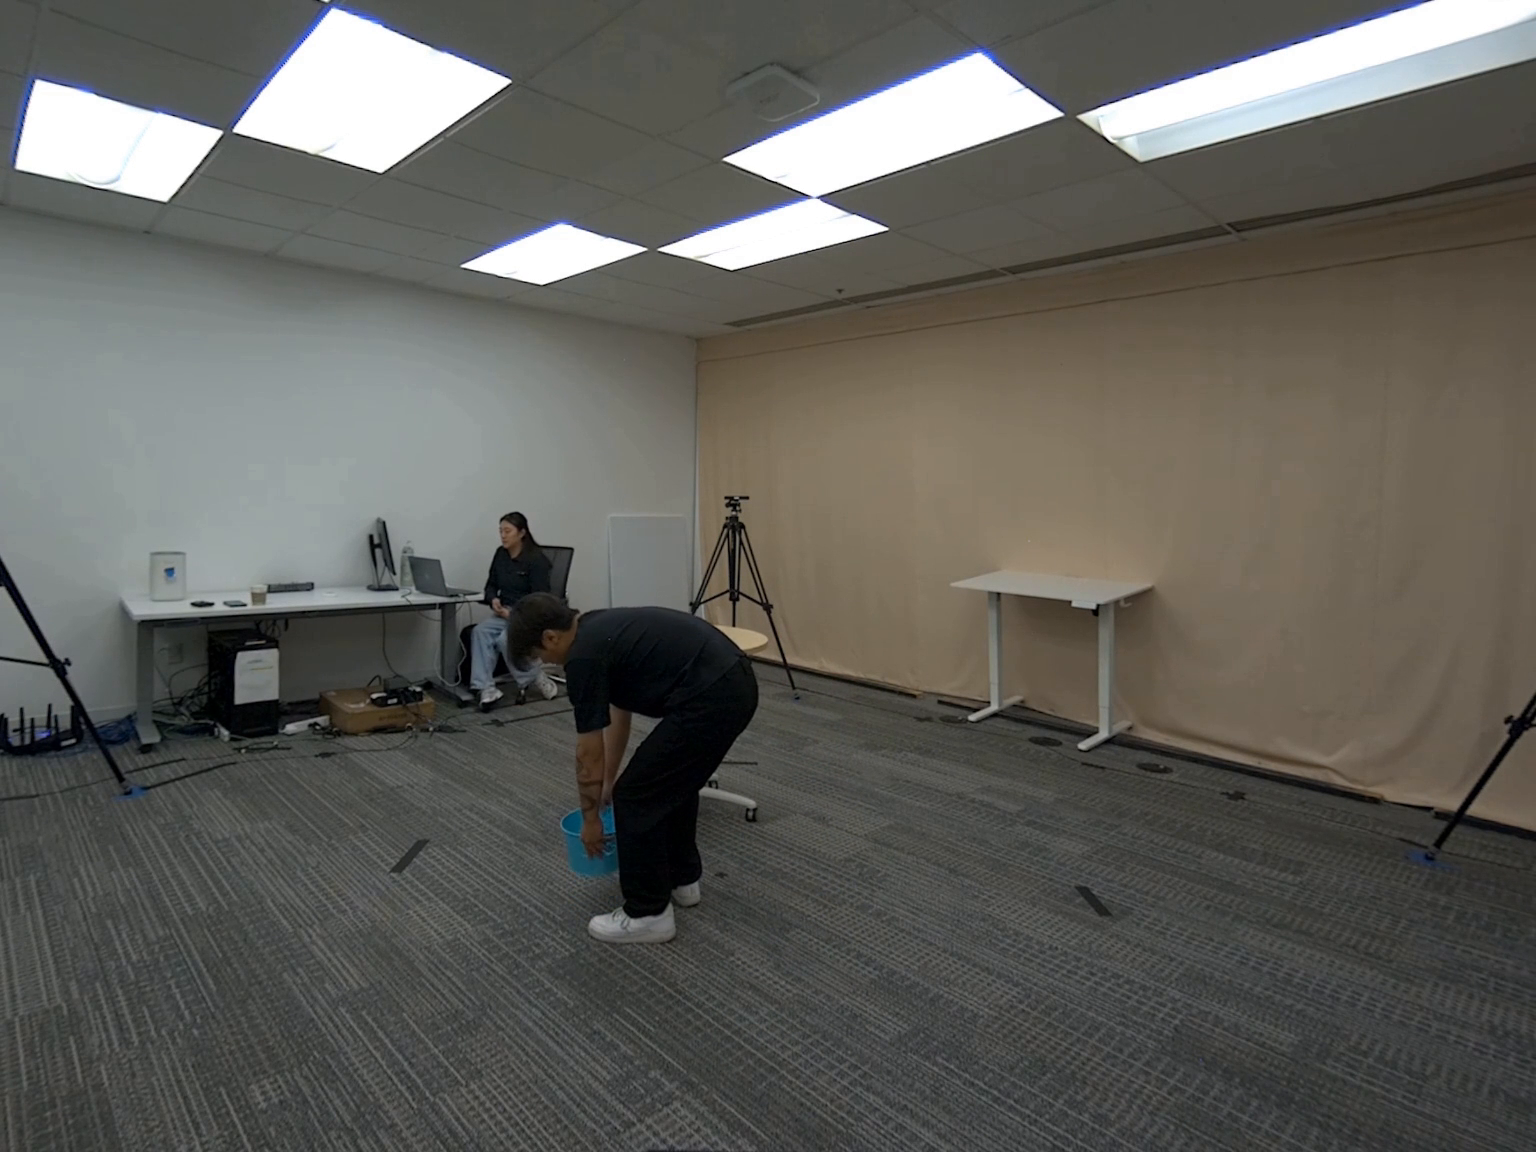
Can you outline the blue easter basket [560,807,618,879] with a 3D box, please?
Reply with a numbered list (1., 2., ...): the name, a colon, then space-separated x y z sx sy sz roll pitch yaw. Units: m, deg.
1. blue easter basket: -0.583 0.901 2.850 0.243 0.155 0.245 -1 8 -1
